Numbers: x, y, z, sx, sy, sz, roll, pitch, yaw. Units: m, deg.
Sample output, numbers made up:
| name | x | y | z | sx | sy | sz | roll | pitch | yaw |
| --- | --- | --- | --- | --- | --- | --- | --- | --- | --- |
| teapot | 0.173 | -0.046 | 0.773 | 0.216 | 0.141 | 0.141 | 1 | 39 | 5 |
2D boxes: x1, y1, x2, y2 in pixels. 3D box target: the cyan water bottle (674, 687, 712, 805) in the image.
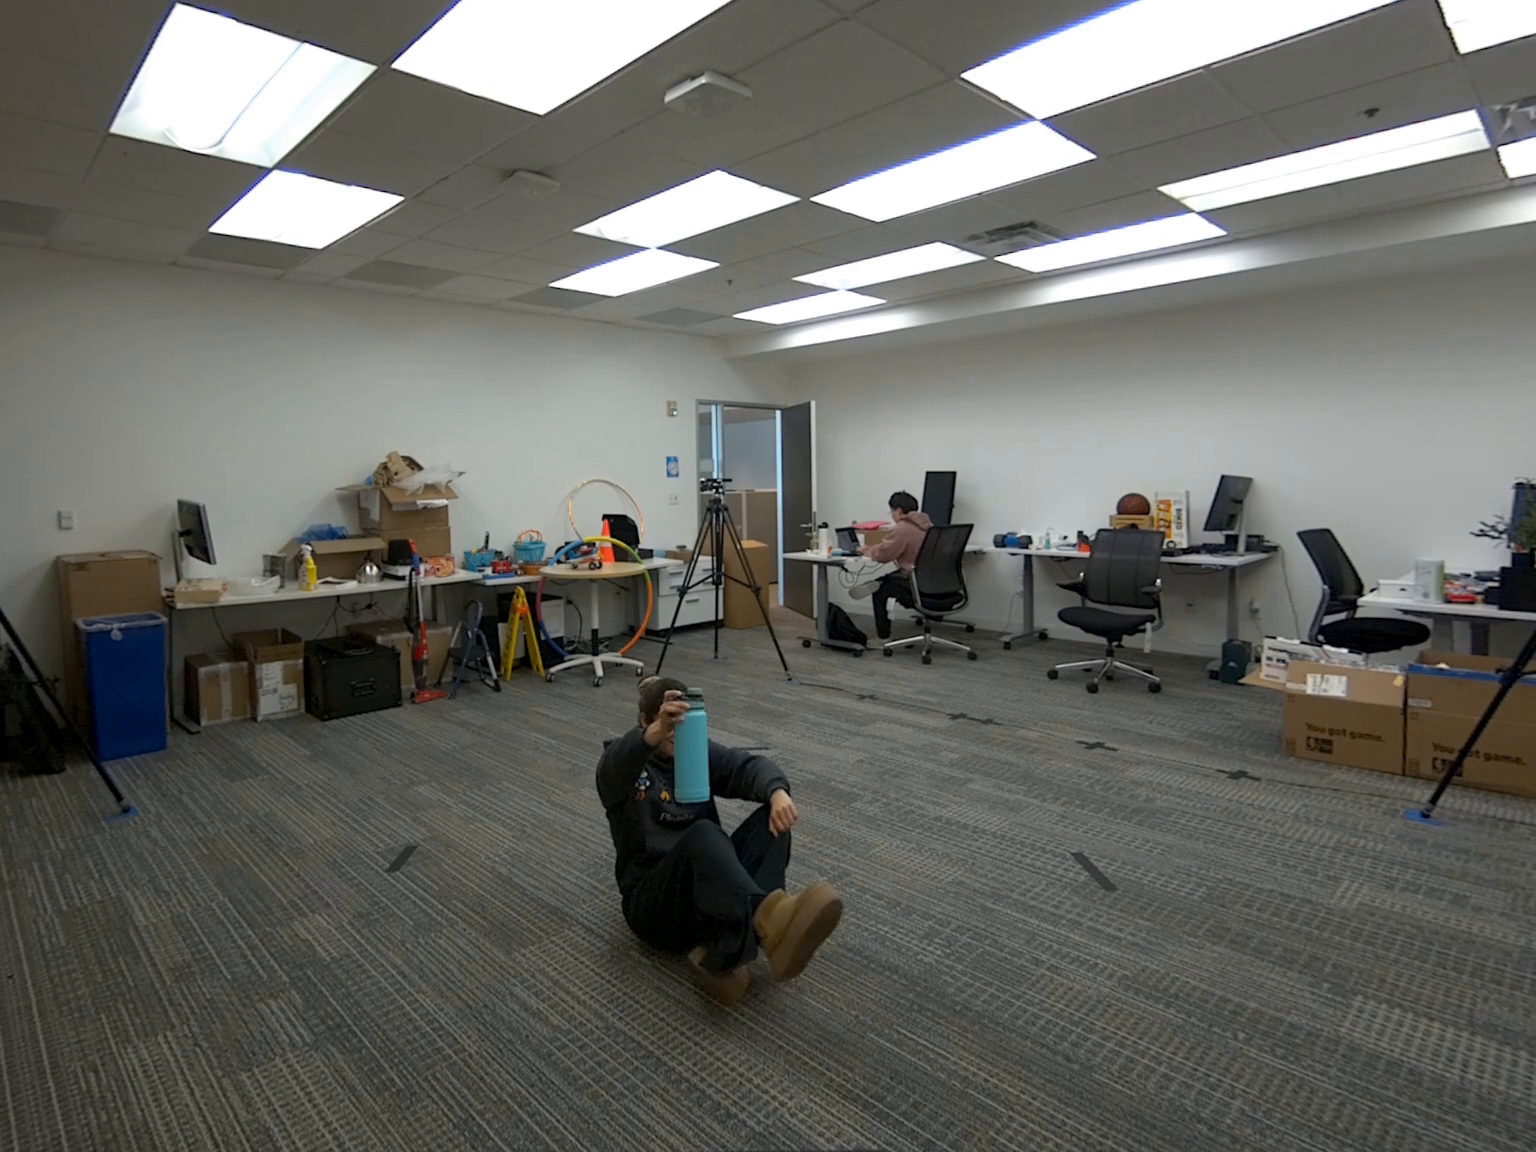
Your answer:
| name | x | y | z | sx | sy | sz | roll | pitch | yaw |
| --- | --- | --- | --- | --- | --- | --- | --- | --- | --- |
| cyan water bottle | -0.189 | 0.448 | 2.206 | 0.092 | 0.286 | 0.091 | -4 | -9 | -2 |
